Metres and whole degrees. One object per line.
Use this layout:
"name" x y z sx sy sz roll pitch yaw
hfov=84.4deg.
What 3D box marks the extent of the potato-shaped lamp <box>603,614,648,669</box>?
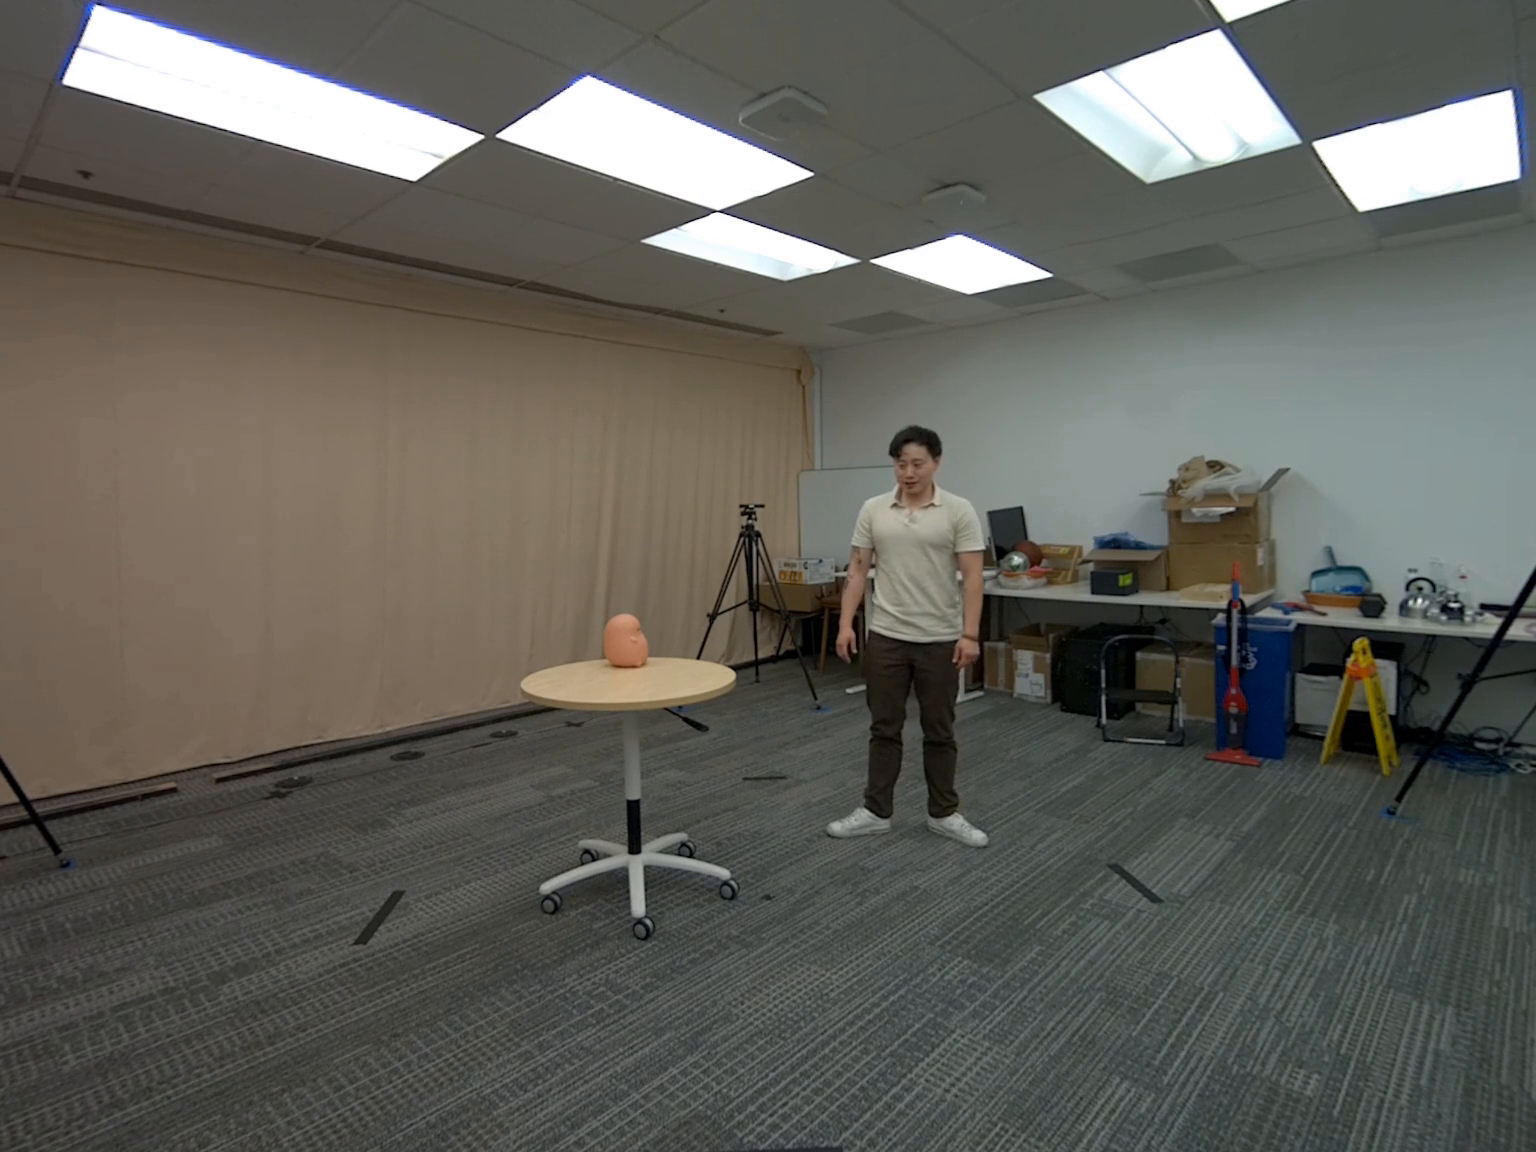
"potato-shaped lamp" -0.547 0.245 3.251 0.173 0.198 0.163 0 -1 6
